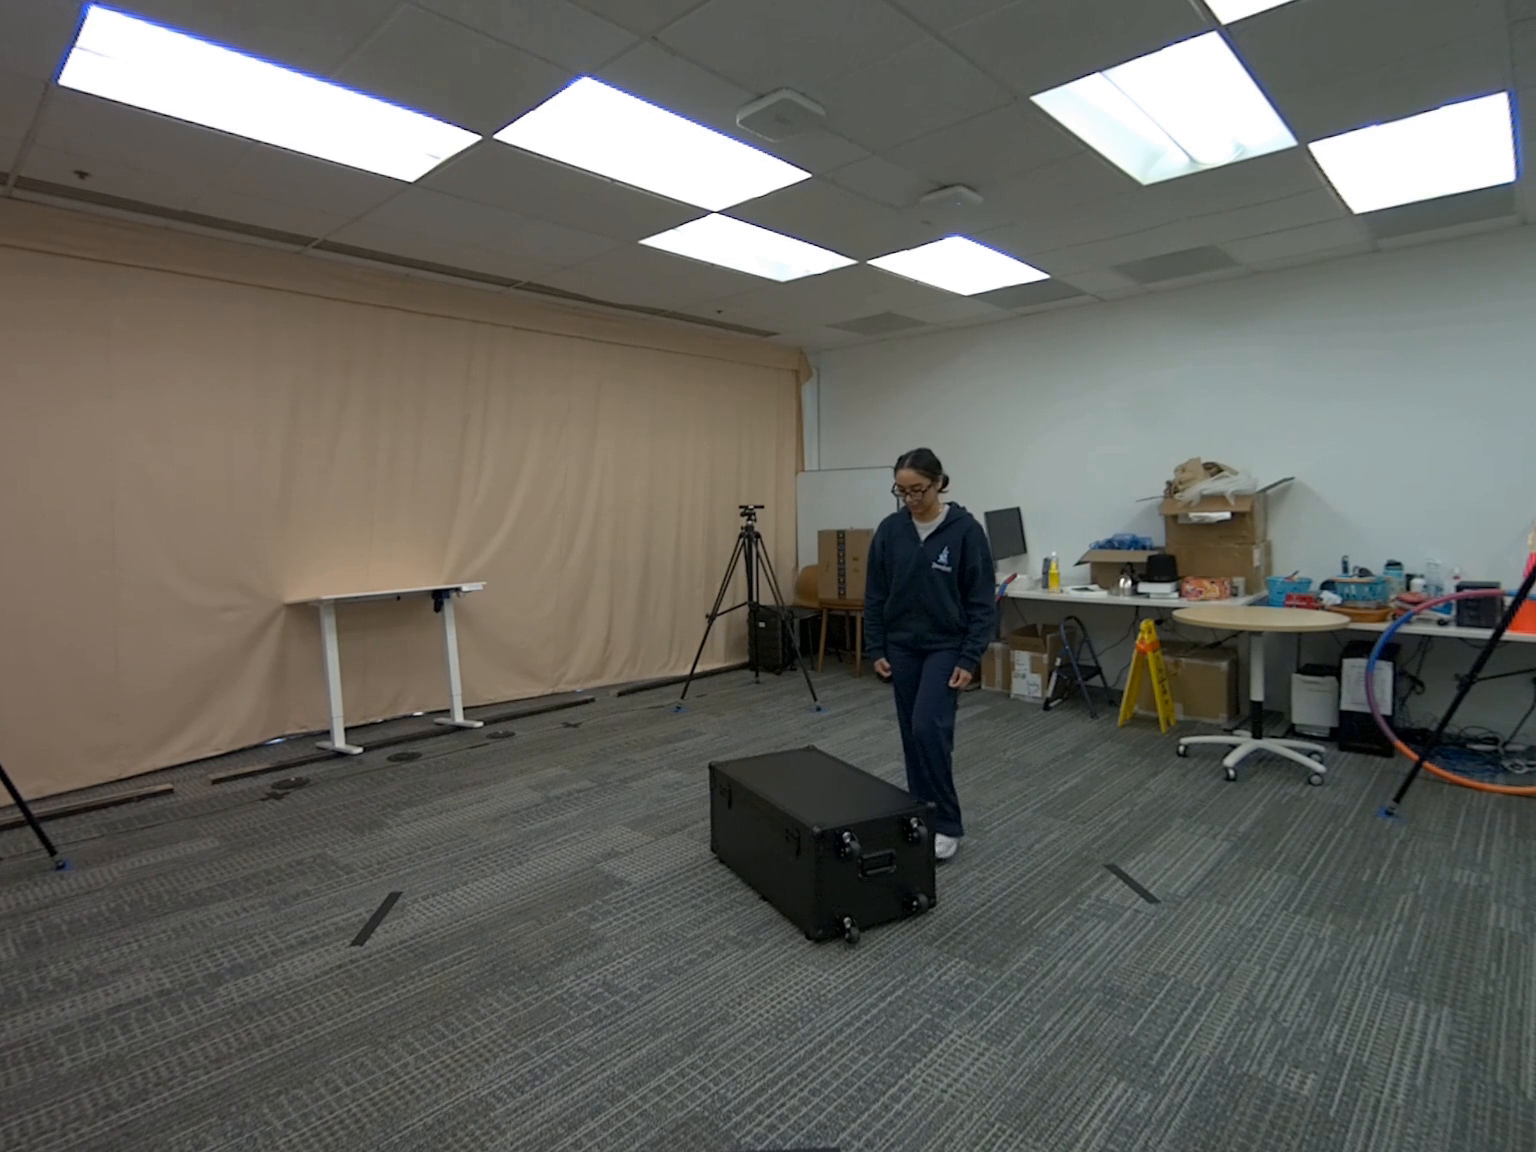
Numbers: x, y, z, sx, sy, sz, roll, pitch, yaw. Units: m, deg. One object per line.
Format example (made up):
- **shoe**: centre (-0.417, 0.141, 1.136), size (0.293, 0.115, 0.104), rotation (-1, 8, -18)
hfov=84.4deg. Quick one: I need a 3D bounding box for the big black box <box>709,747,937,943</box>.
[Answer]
- **big black box**: centre (0.197, 0.960, 3.053), size (0.386, 0.520, 0.886), rotation (-4, 5, -30)
